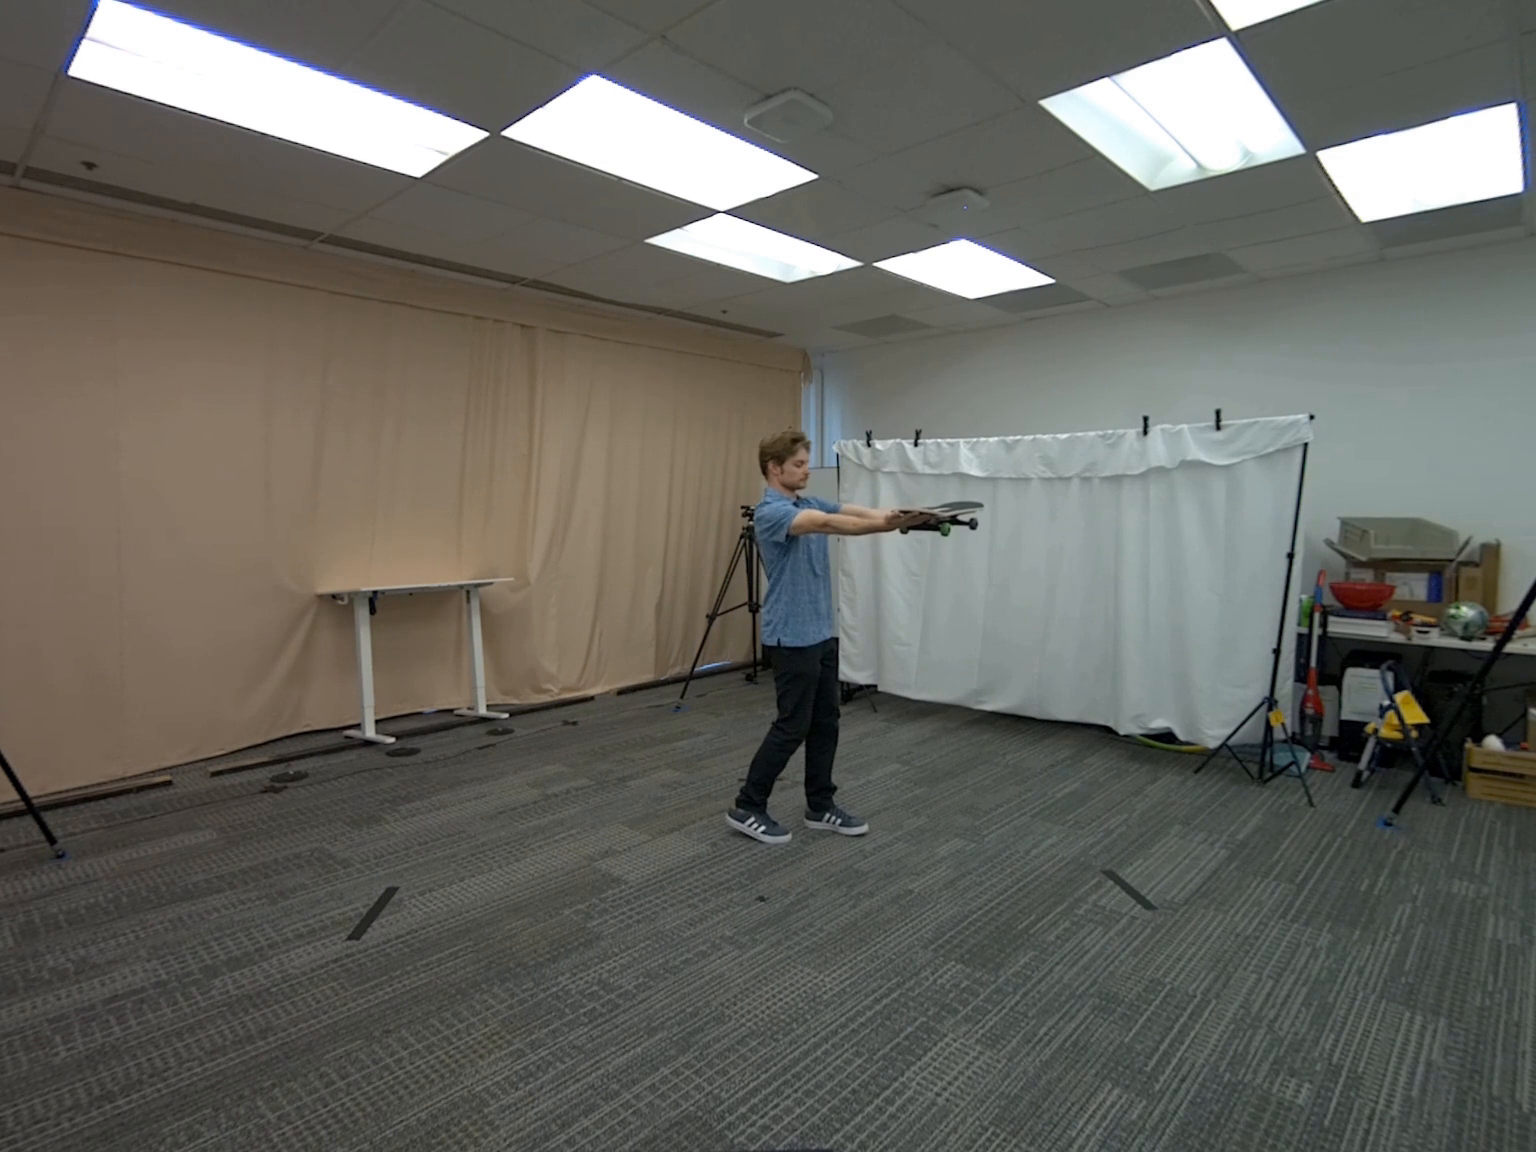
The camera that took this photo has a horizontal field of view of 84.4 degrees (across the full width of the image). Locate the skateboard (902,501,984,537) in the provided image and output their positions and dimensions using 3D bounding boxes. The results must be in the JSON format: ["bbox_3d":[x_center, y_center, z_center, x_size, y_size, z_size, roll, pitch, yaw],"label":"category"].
[{"bbox_3d":[0.668,-0.210,3.273,0.199,0.110,0.766,5,8,29],"label":"skateboard"}]
